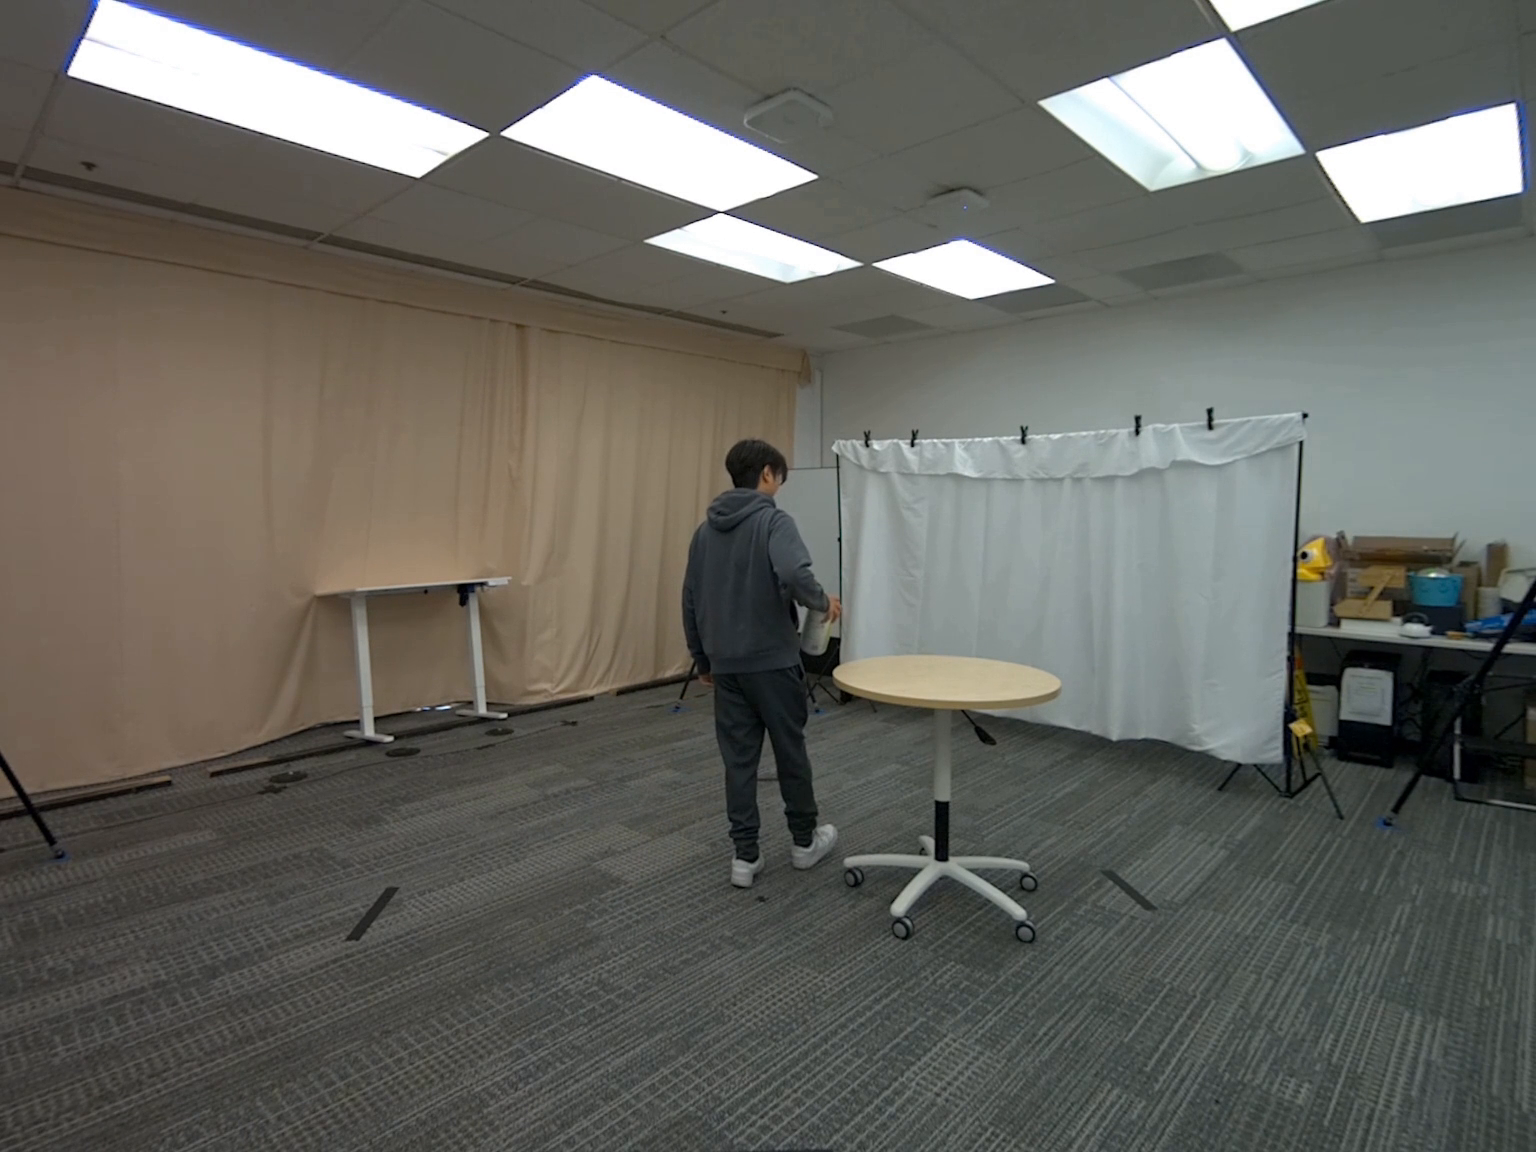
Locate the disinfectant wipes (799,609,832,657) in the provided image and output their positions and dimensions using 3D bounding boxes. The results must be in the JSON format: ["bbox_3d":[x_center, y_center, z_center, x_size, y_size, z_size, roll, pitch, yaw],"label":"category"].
[{"bbox_3d":[0.195,0.193,3.209,0.117,0.214,0.120,4,37,-5],"label":"disinfectant wipes"}]
